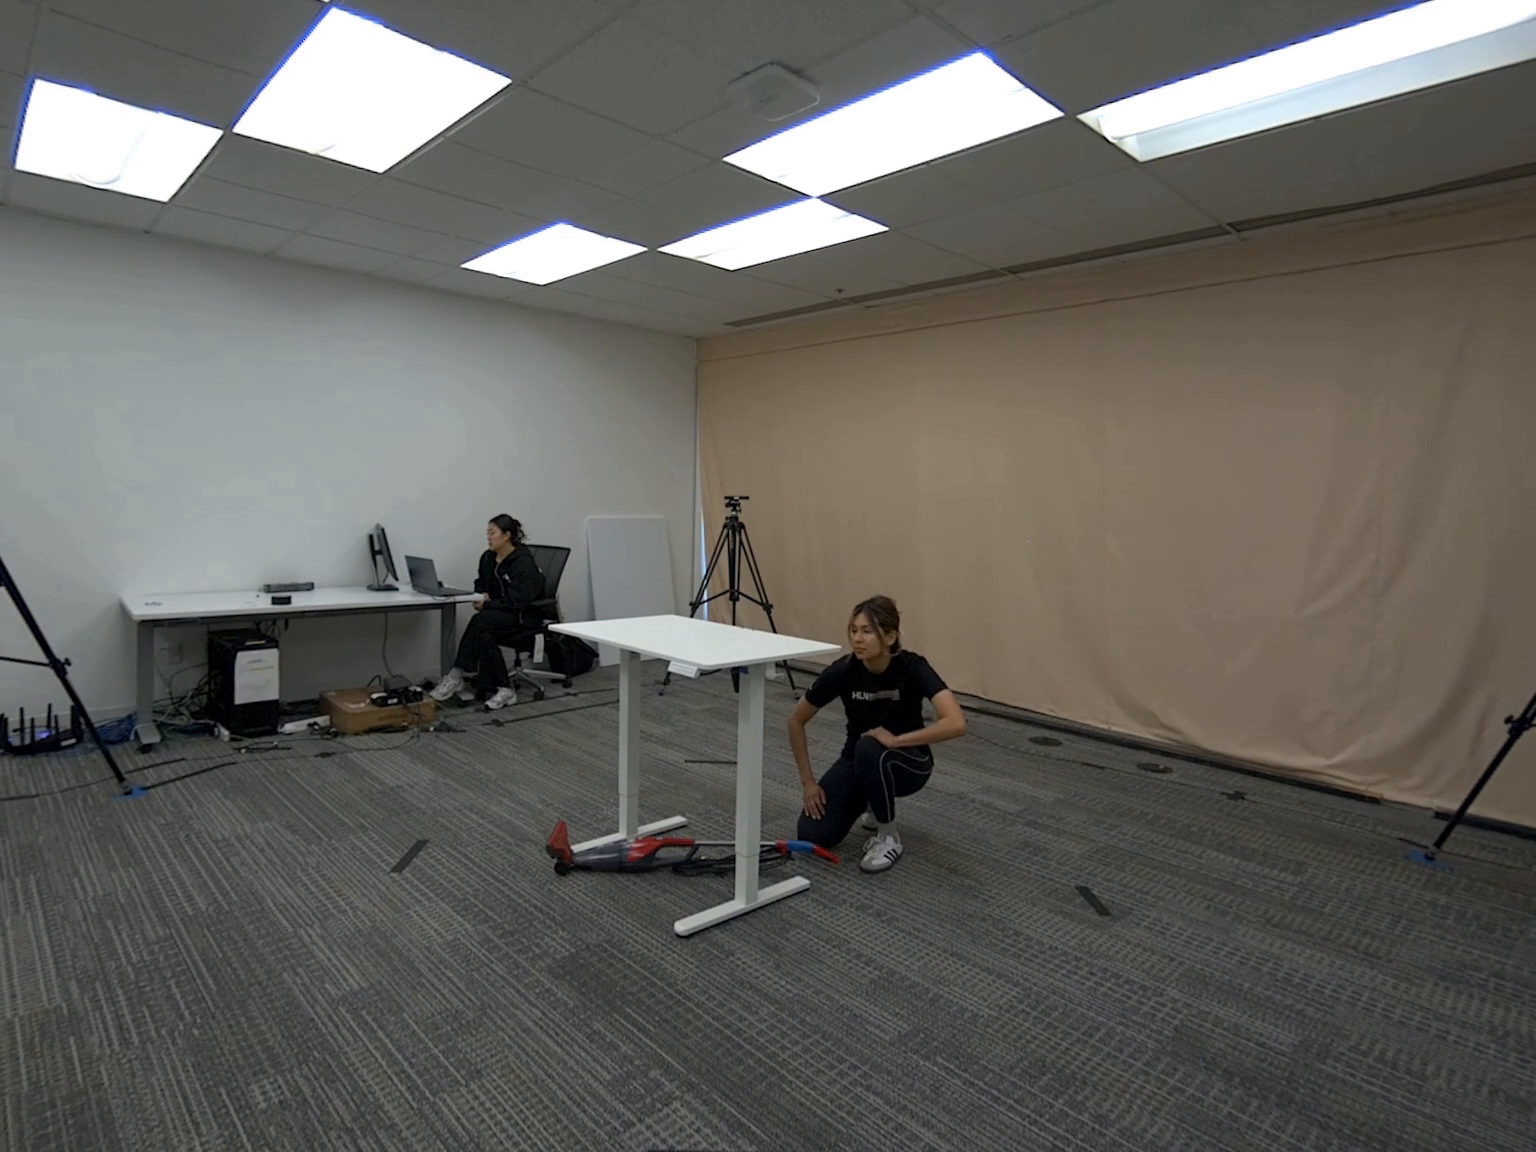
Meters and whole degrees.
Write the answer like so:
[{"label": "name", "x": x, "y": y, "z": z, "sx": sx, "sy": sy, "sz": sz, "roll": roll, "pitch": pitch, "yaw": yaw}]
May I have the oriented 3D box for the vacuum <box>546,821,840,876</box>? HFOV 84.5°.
[{"label": "vacuum", "x": -0.273, "y": 1.033, "z": 3.122, "sx": 1.049, "sy": 0.144, "sz": 0.253, "roll": 3, "pitch": 3, "yaw": -1}]
